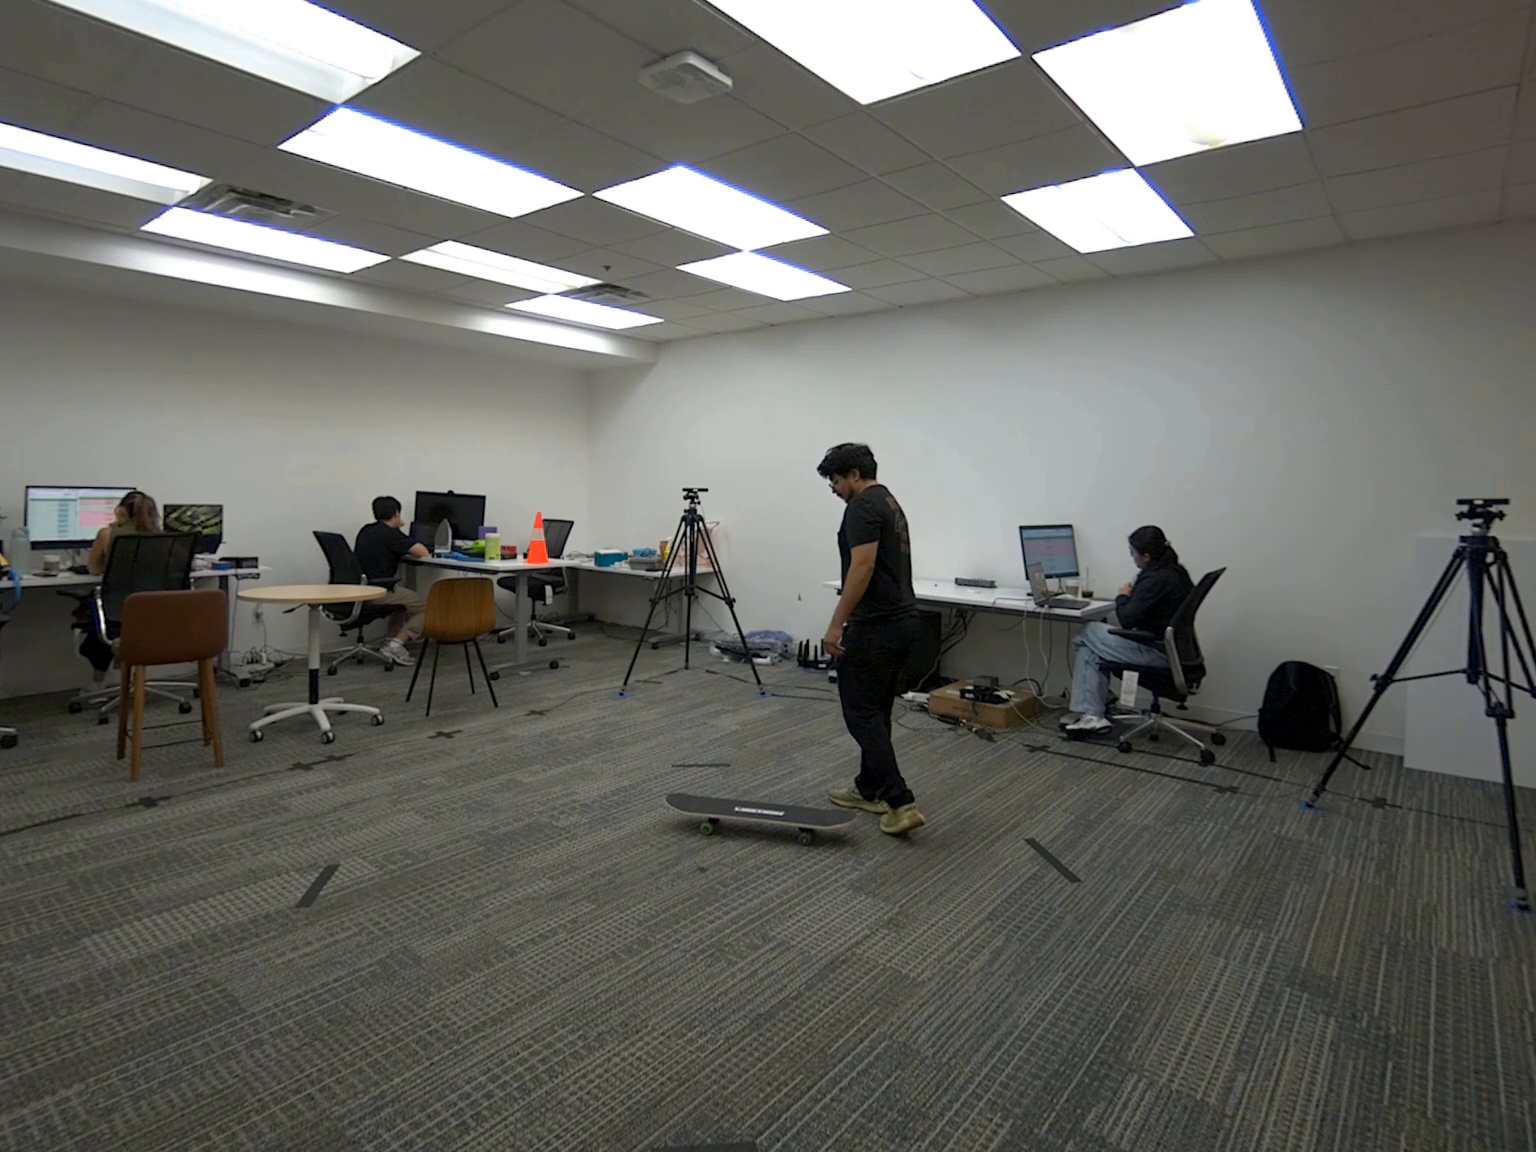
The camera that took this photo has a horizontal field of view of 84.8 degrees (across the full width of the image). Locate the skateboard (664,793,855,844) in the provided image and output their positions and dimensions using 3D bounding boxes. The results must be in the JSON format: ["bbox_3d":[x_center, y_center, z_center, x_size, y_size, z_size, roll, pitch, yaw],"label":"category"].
[{"bbox_3d":[-0.051,0.978,3.455,0.795,0.110,0.191,3,4,11],"label":"skateboard"}]
